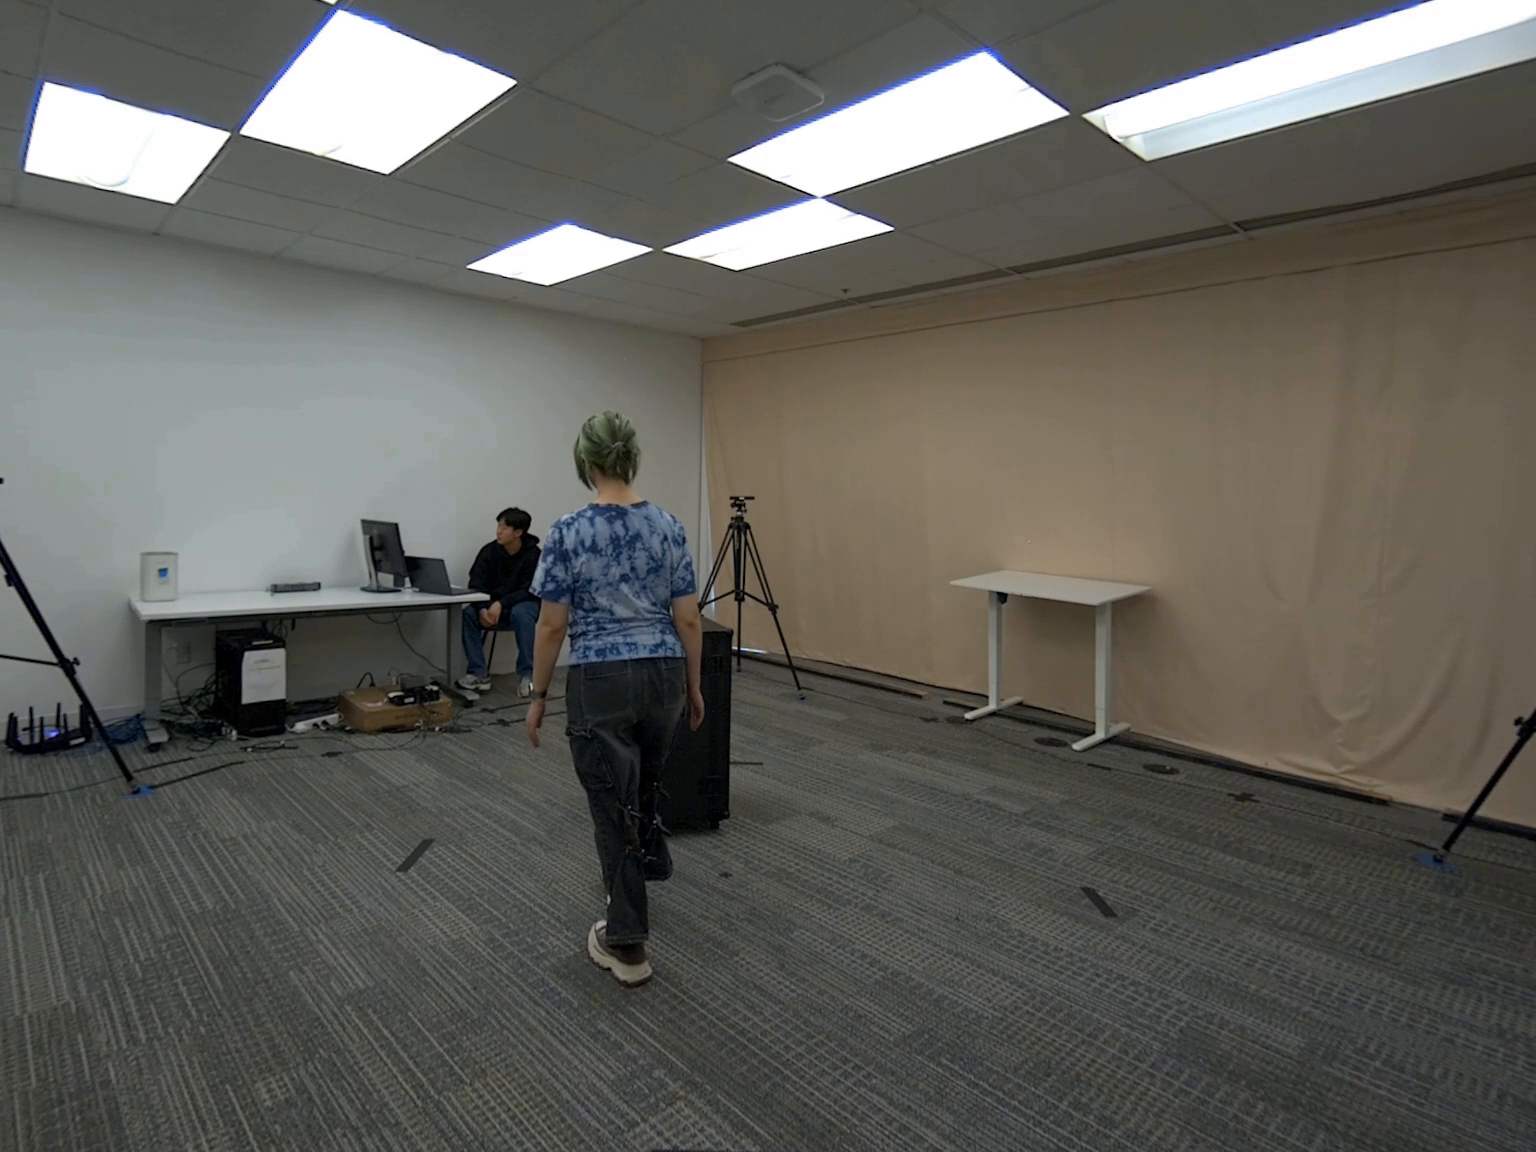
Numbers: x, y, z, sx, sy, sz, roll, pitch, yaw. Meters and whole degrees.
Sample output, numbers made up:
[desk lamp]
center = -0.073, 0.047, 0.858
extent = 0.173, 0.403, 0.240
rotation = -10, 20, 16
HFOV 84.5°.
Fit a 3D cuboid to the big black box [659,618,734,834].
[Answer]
[big black box]
center = -0.409, 0.634, 3.623
extent = 0.391, 0.860, 0.529
rotation = 0, 3, -19
